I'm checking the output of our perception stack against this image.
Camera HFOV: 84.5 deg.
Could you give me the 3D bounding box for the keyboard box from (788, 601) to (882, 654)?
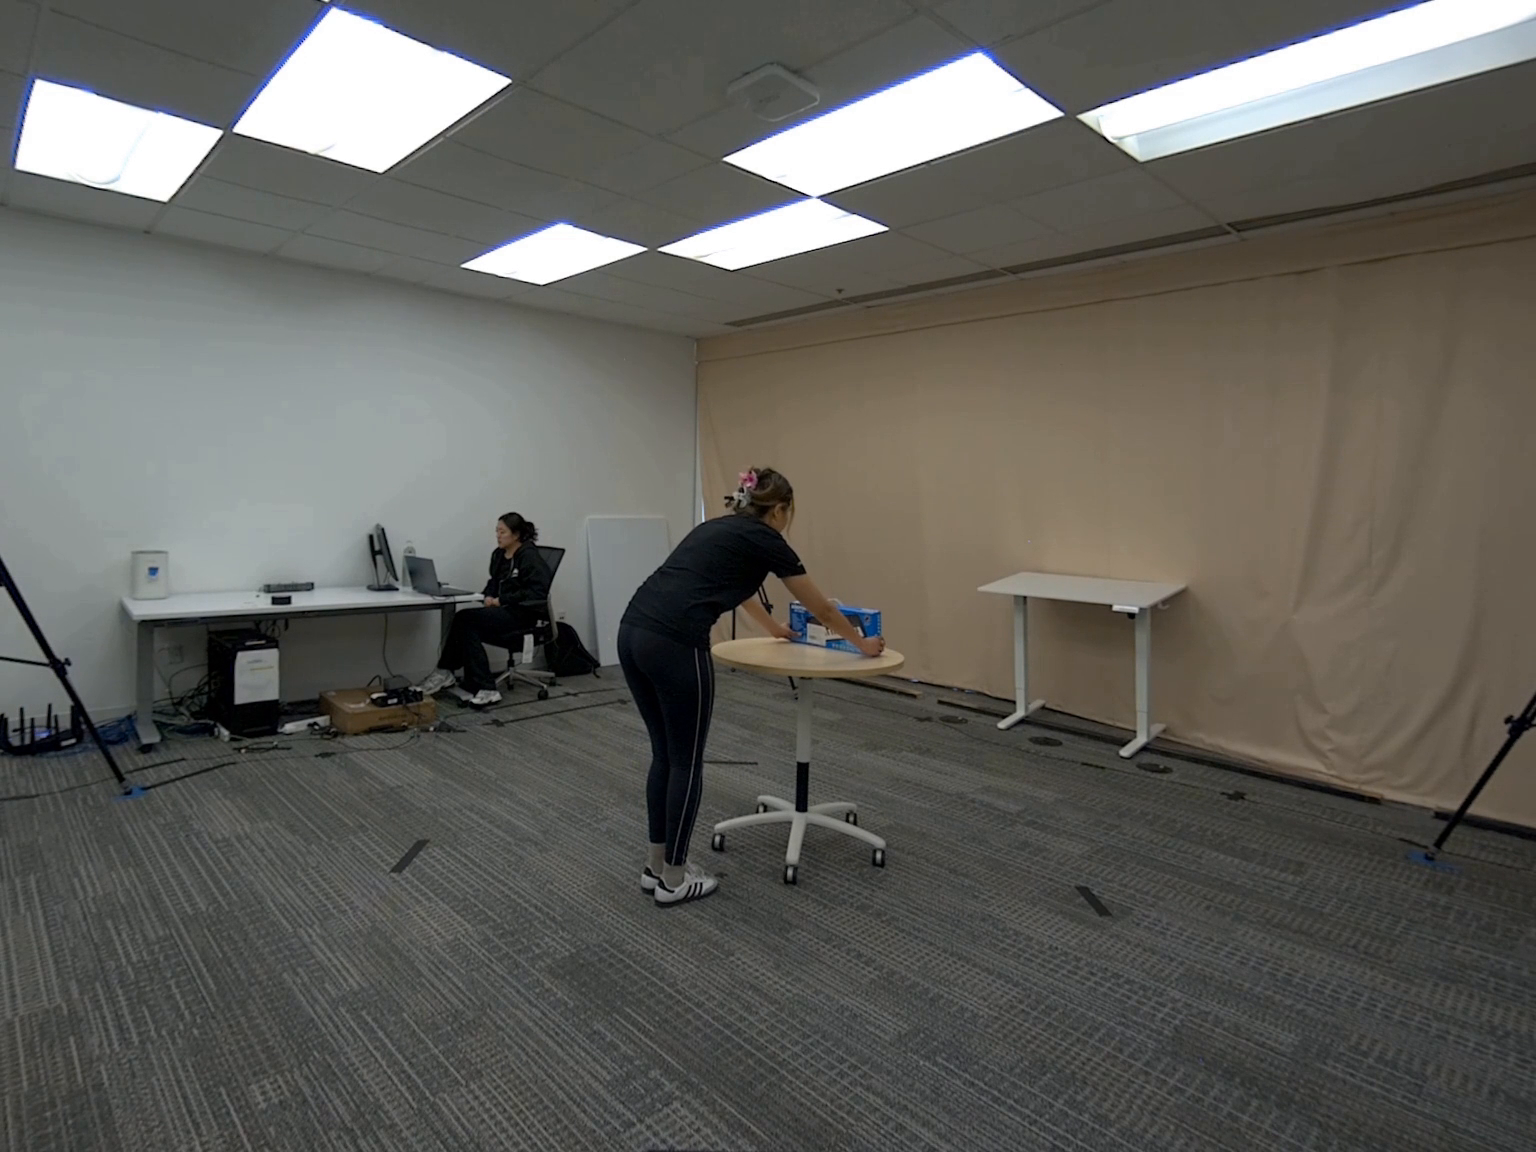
[{"bbox_3d":[0.268,0.212,3.479,0.448,0.175,0.058,6,12,44],"label":"keyboard box"}]
